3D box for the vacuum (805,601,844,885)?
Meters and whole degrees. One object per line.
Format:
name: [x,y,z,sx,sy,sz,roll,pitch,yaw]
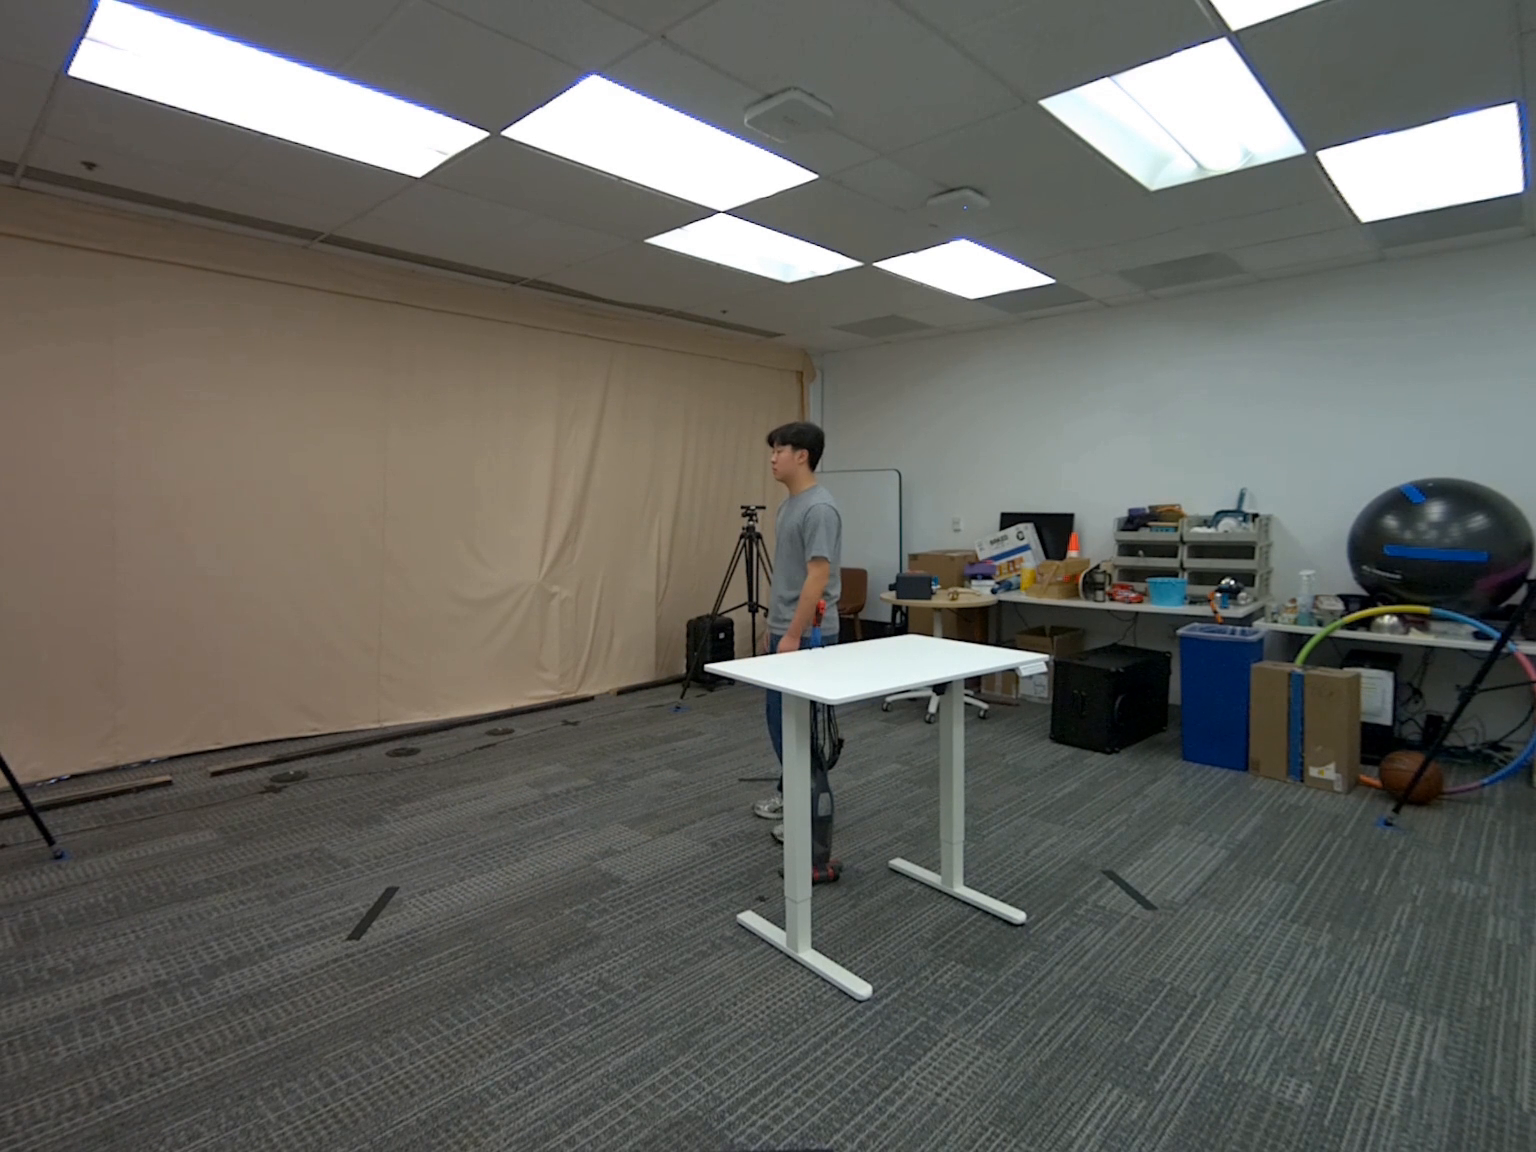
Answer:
vacuum: [0.189,0.605,3.098,0.249,1.044,0.146,-3,7,-13]
